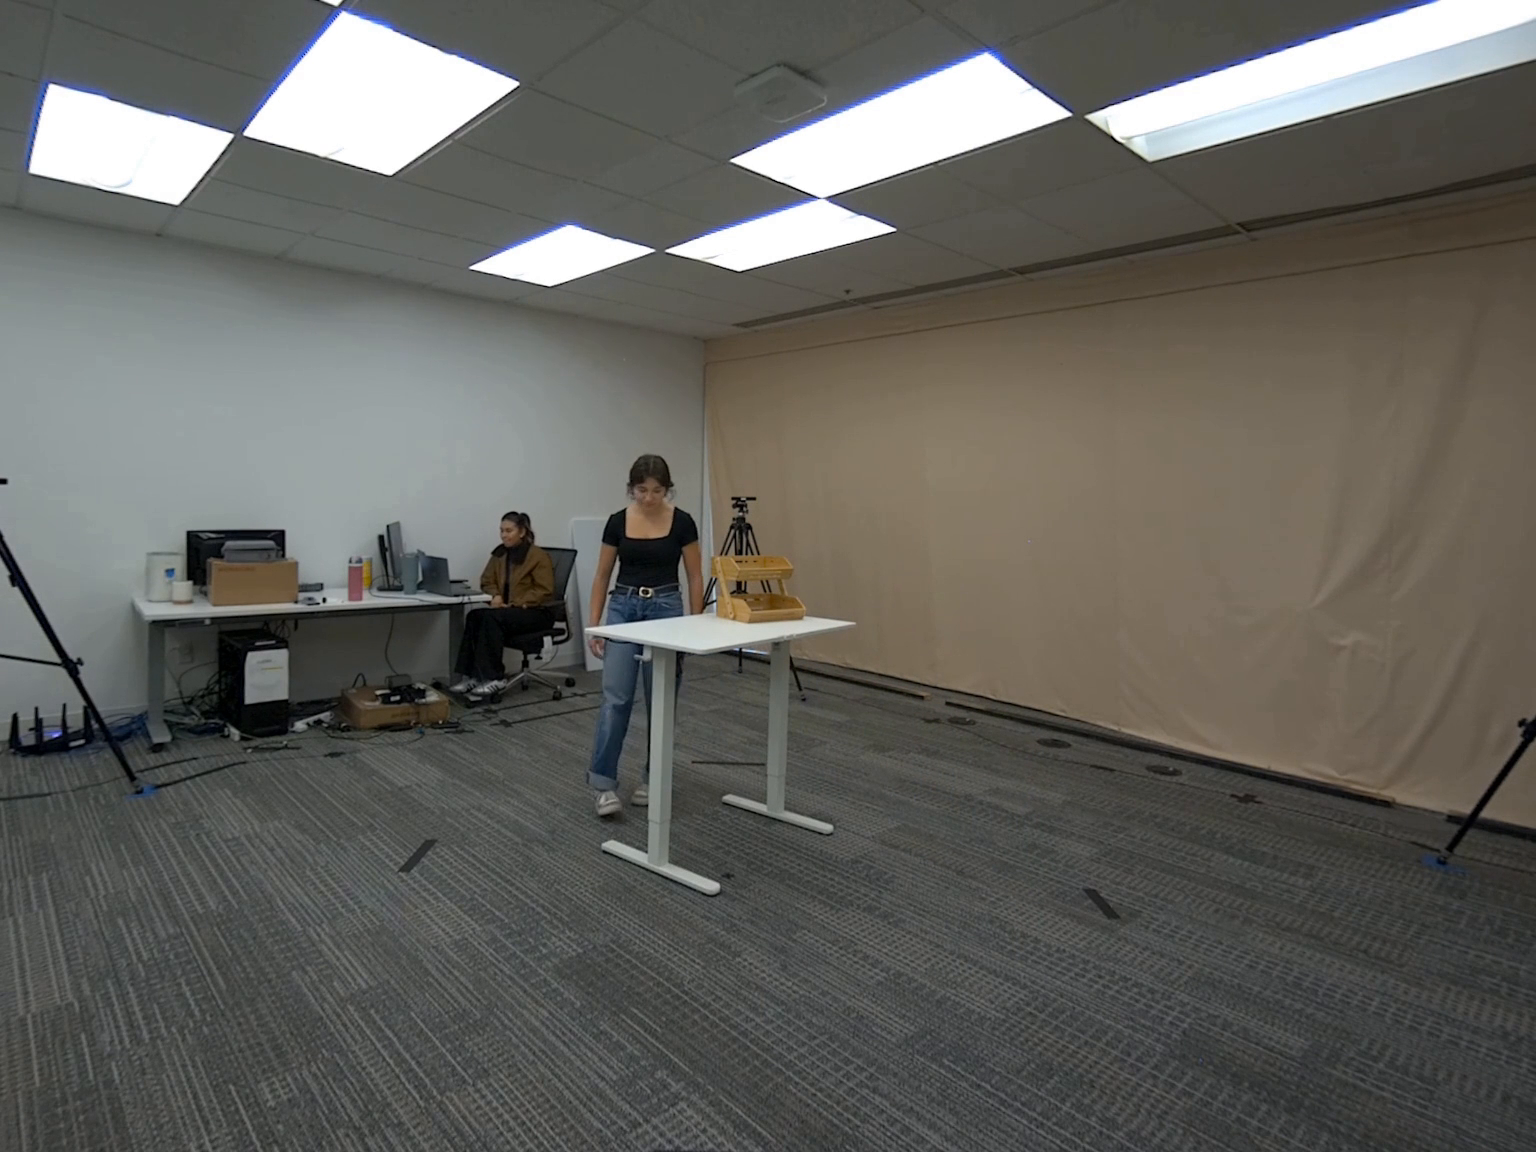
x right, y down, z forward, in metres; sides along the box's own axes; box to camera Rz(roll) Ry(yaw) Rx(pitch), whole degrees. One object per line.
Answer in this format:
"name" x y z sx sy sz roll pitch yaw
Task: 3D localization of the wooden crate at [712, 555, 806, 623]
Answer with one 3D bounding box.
"wooden crate" -0.050 0.049 3.654 0.317 0.273 0.309 0 3 -37
